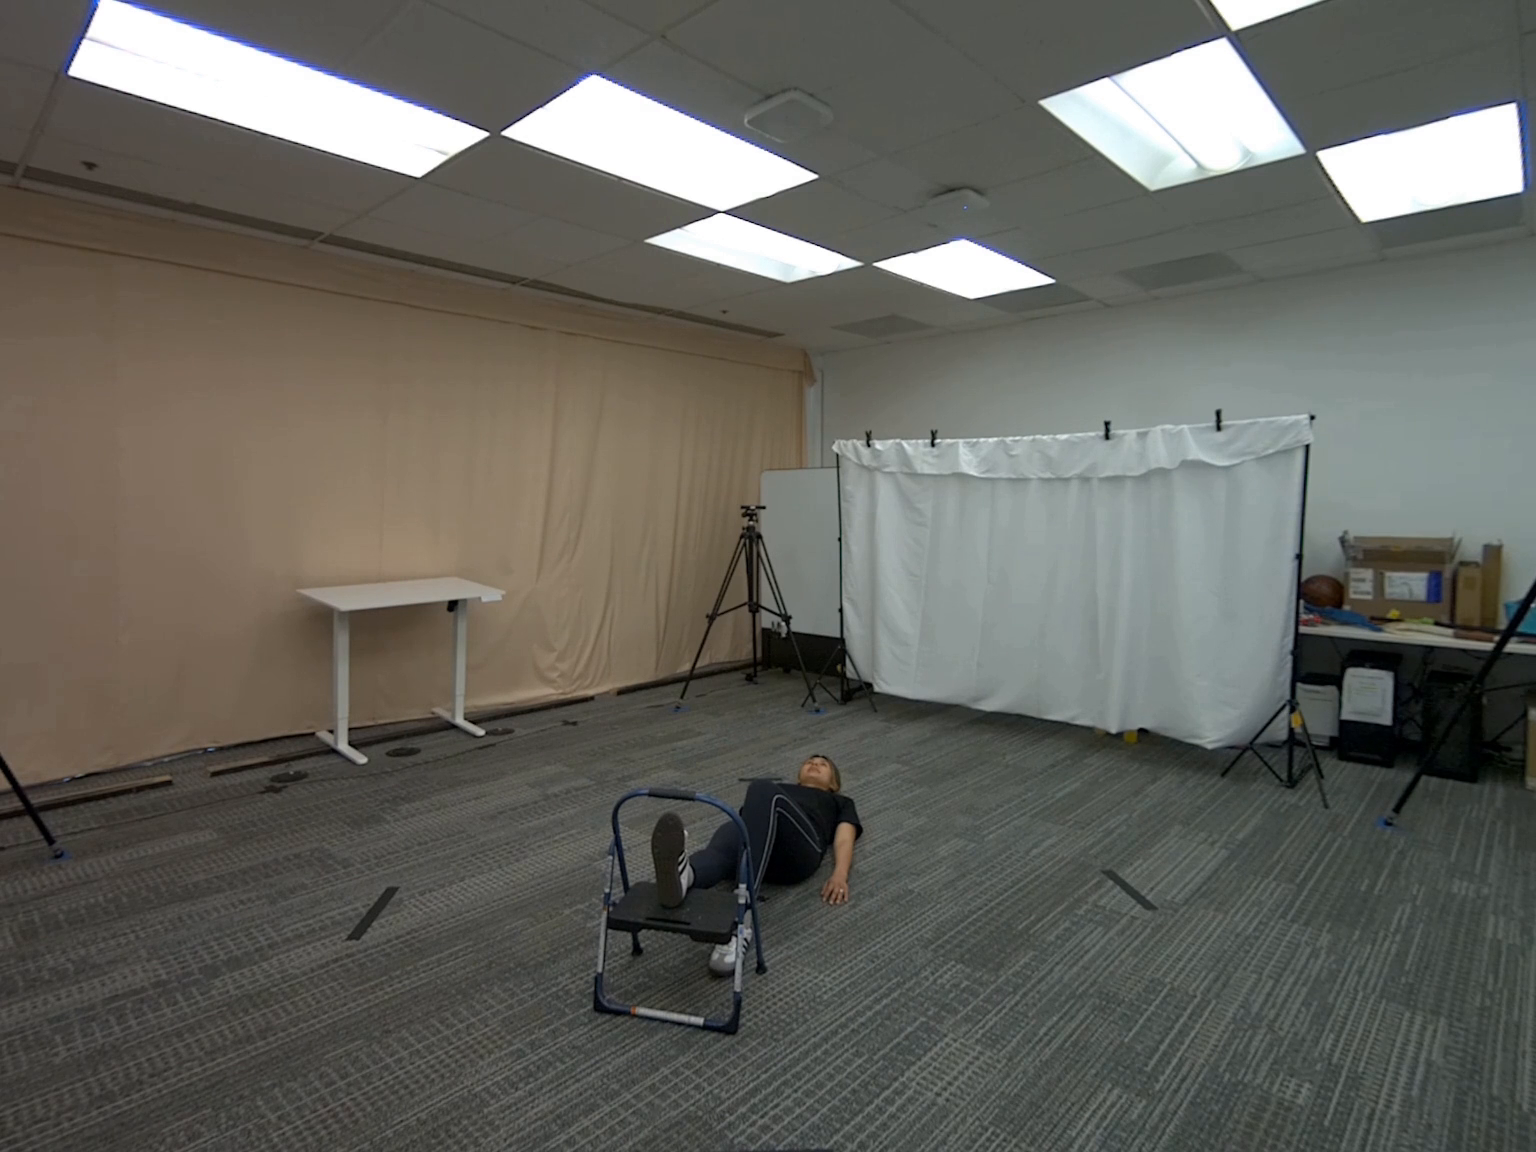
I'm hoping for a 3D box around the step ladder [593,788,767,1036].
[{"bbox_3d":[-0.252,0.893,2.410,0.437,0.605,0.344,1,3,14],"label":"step ladder"}]
